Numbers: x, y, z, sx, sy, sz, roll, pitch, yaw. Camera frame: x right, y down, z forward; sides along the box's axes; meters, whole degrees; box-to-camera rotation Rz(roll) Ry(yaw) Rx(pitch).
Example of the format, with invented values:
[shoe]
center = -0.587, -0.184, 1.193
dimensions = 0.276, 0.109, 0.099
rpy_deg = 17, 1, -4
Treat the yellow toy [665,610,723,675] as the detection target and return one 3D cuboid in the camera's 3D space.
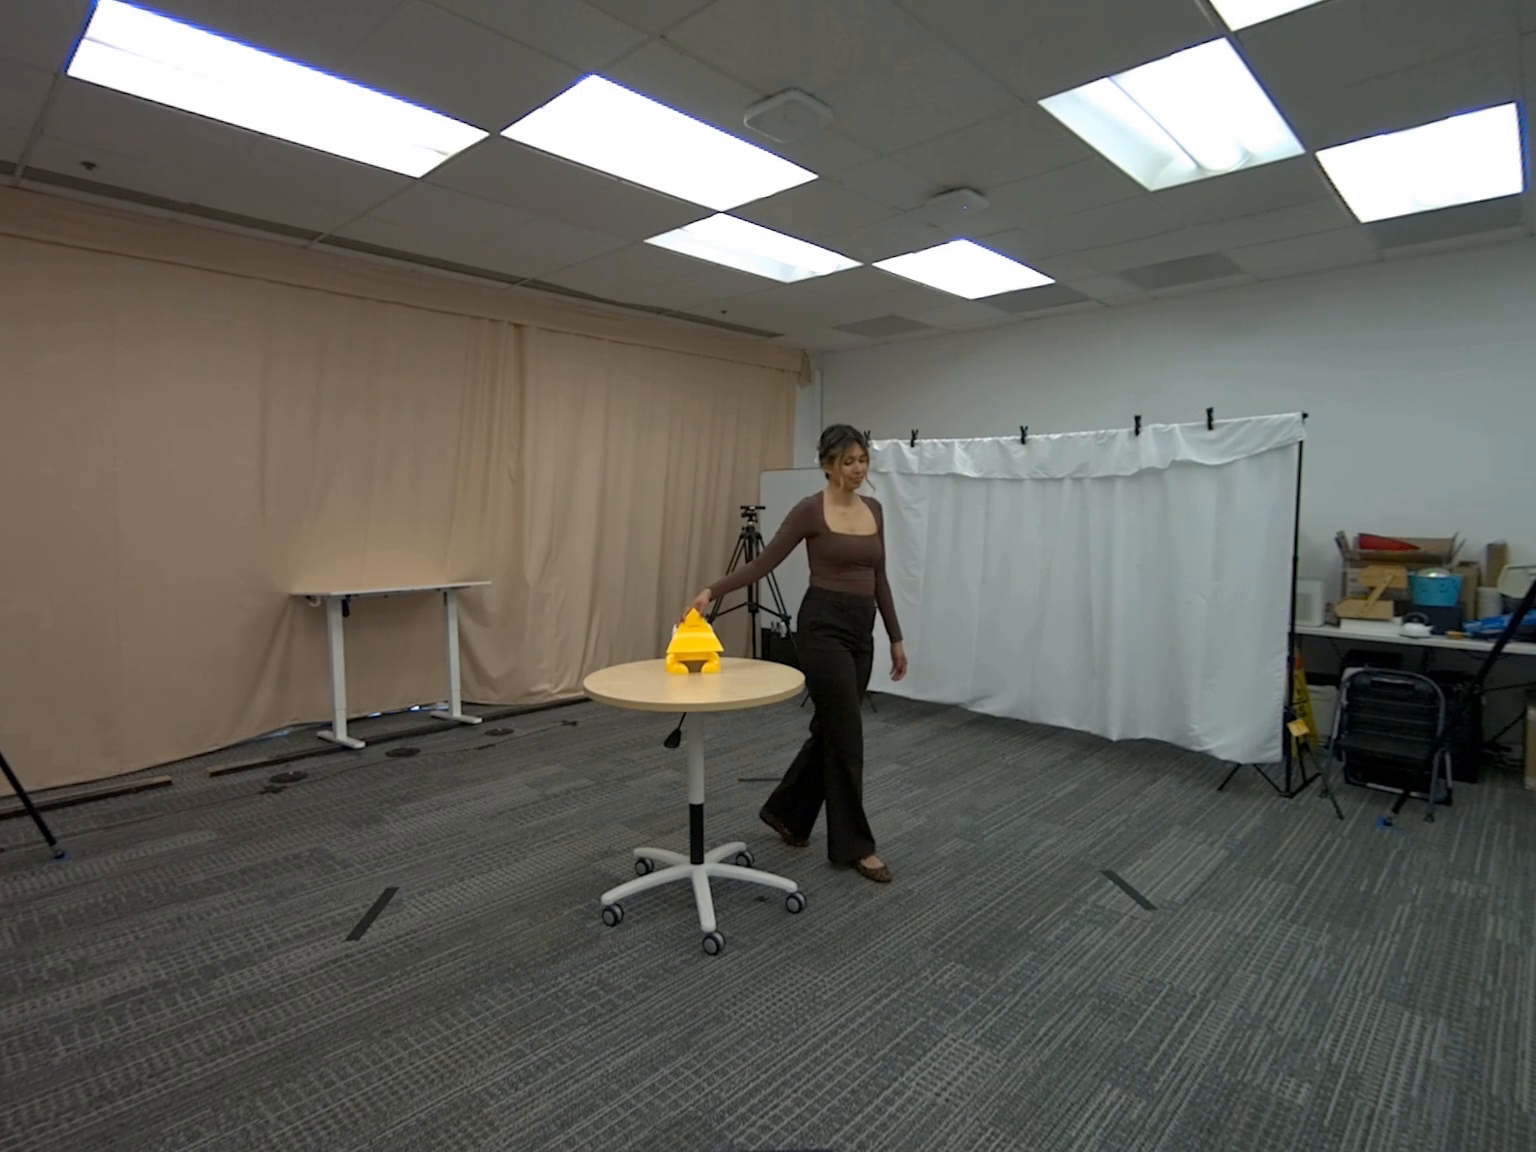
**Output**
[yellow toy]
center = -0.273, 0.227, 3.073
dimensions = 0.203, 0.230, 0.195
rpy_deg = -2, 5, -9
